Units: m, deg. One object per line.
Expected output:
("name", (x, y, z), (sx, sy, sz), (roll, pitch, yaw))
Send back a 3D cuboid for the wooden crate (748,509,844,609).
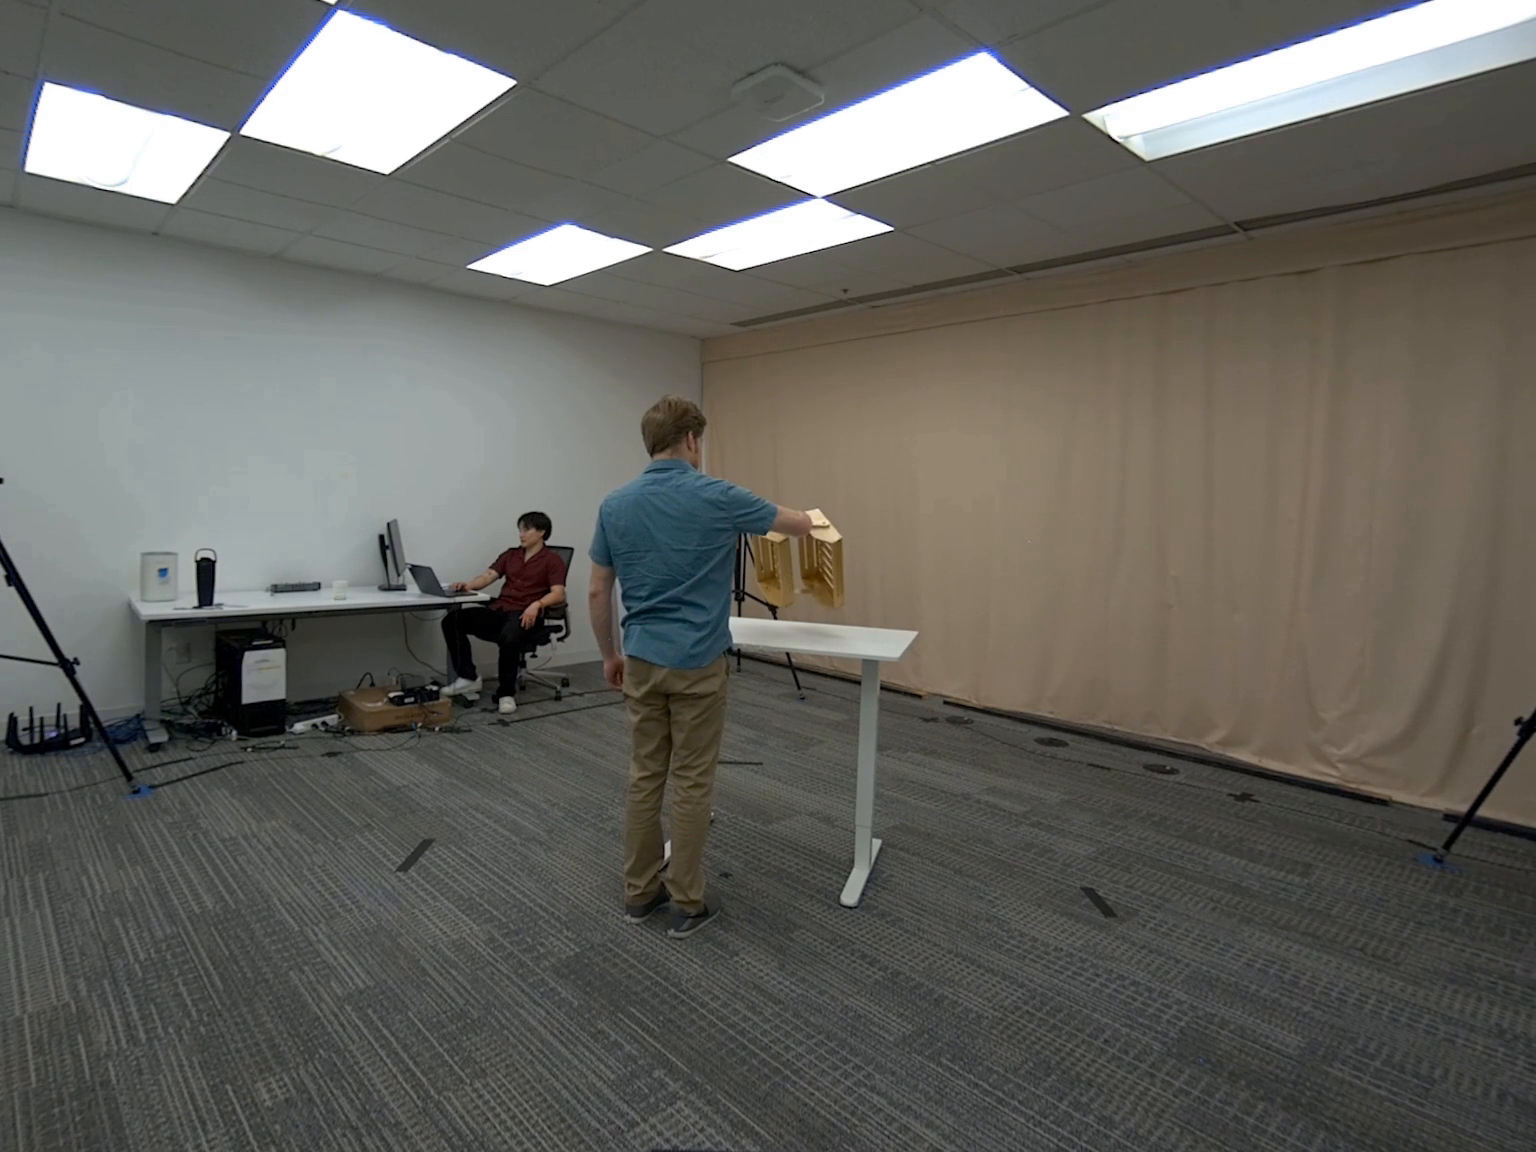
("wooden crate", (0.101, -0.046, 3.184), (0.272, 0.317, 0.310), (-13, 33, -10))
